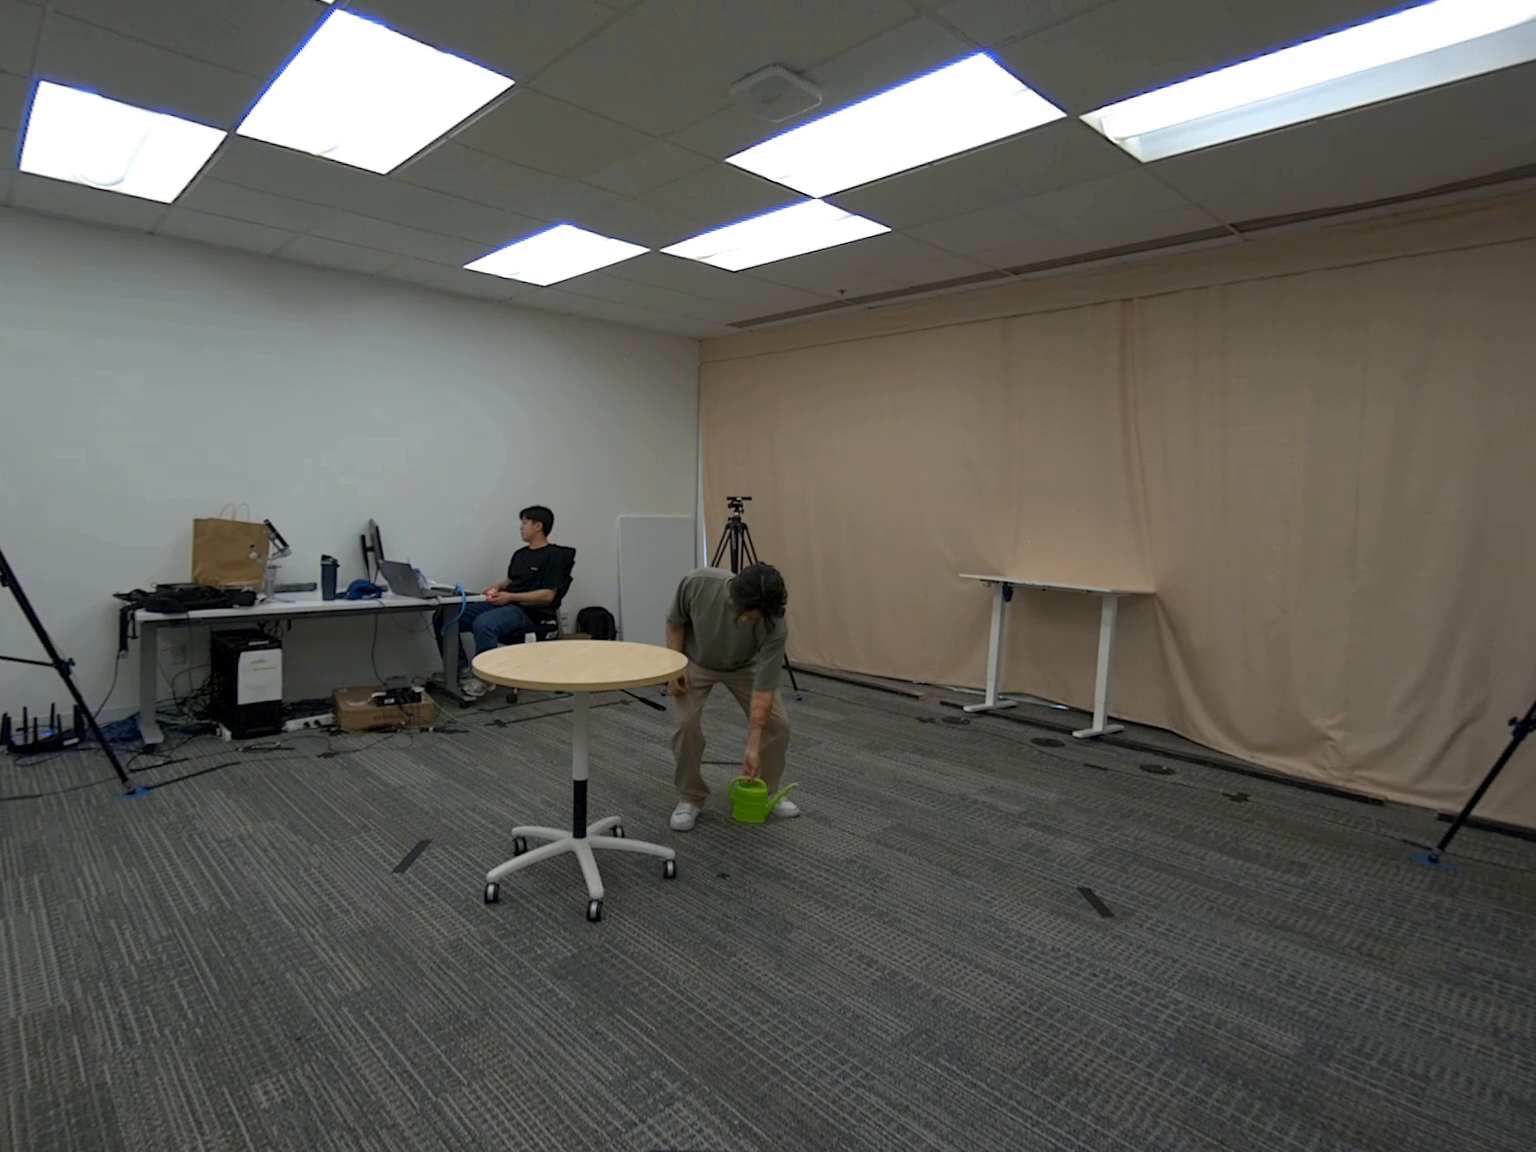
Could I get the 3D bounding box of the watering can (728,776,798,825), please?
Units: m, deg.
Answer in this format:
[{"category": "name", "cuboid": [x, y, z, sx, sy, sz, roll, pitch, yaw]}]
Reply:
[{"category": "watering can", "cuboid": [-0.033, 0.901, 3.379, 0.282, 0.176, 0.097, 7, 4, 14]}]
